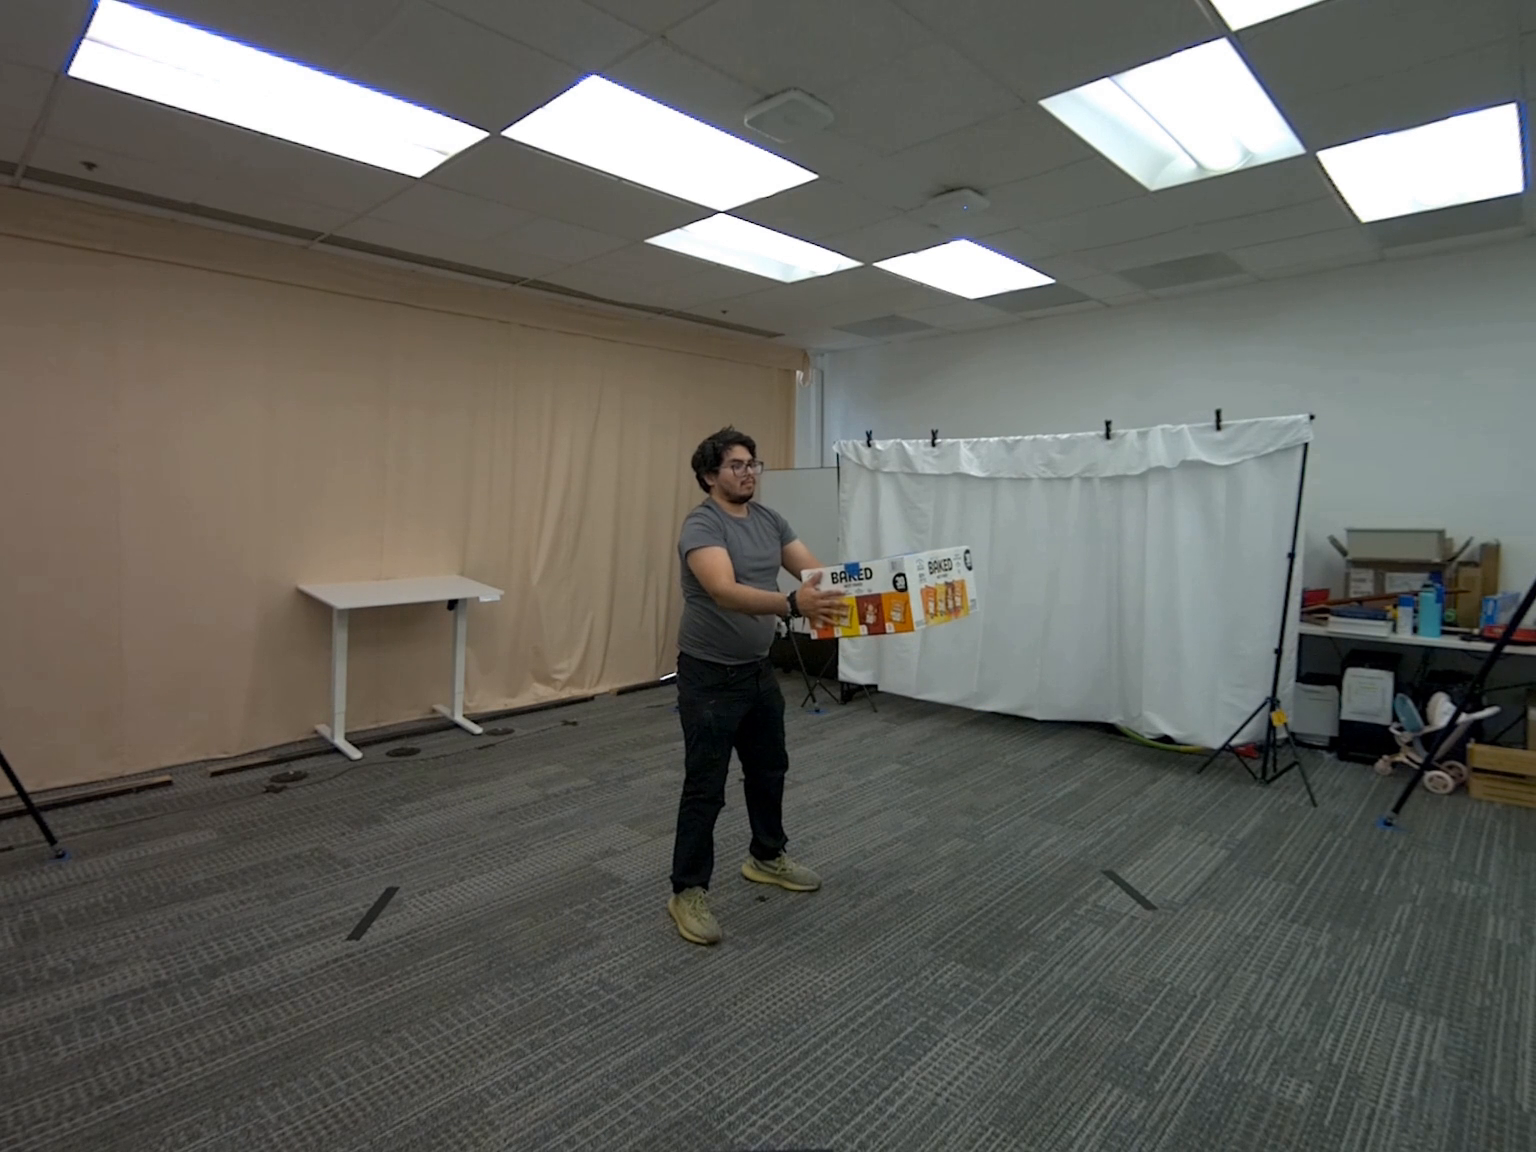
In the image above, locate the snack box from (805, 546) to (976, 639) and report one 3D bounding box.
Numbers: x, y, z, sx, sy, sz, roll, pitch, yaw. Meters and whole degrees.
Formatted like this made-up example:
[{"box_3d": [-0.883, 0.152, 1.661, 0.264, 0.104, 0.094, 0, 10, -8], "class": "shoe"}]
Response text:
[{"box_3d": [0.368, 0.050, 2.468, 0.350, 0.206, 0.393, -8, 0, 39], "class": "snack box"}]
